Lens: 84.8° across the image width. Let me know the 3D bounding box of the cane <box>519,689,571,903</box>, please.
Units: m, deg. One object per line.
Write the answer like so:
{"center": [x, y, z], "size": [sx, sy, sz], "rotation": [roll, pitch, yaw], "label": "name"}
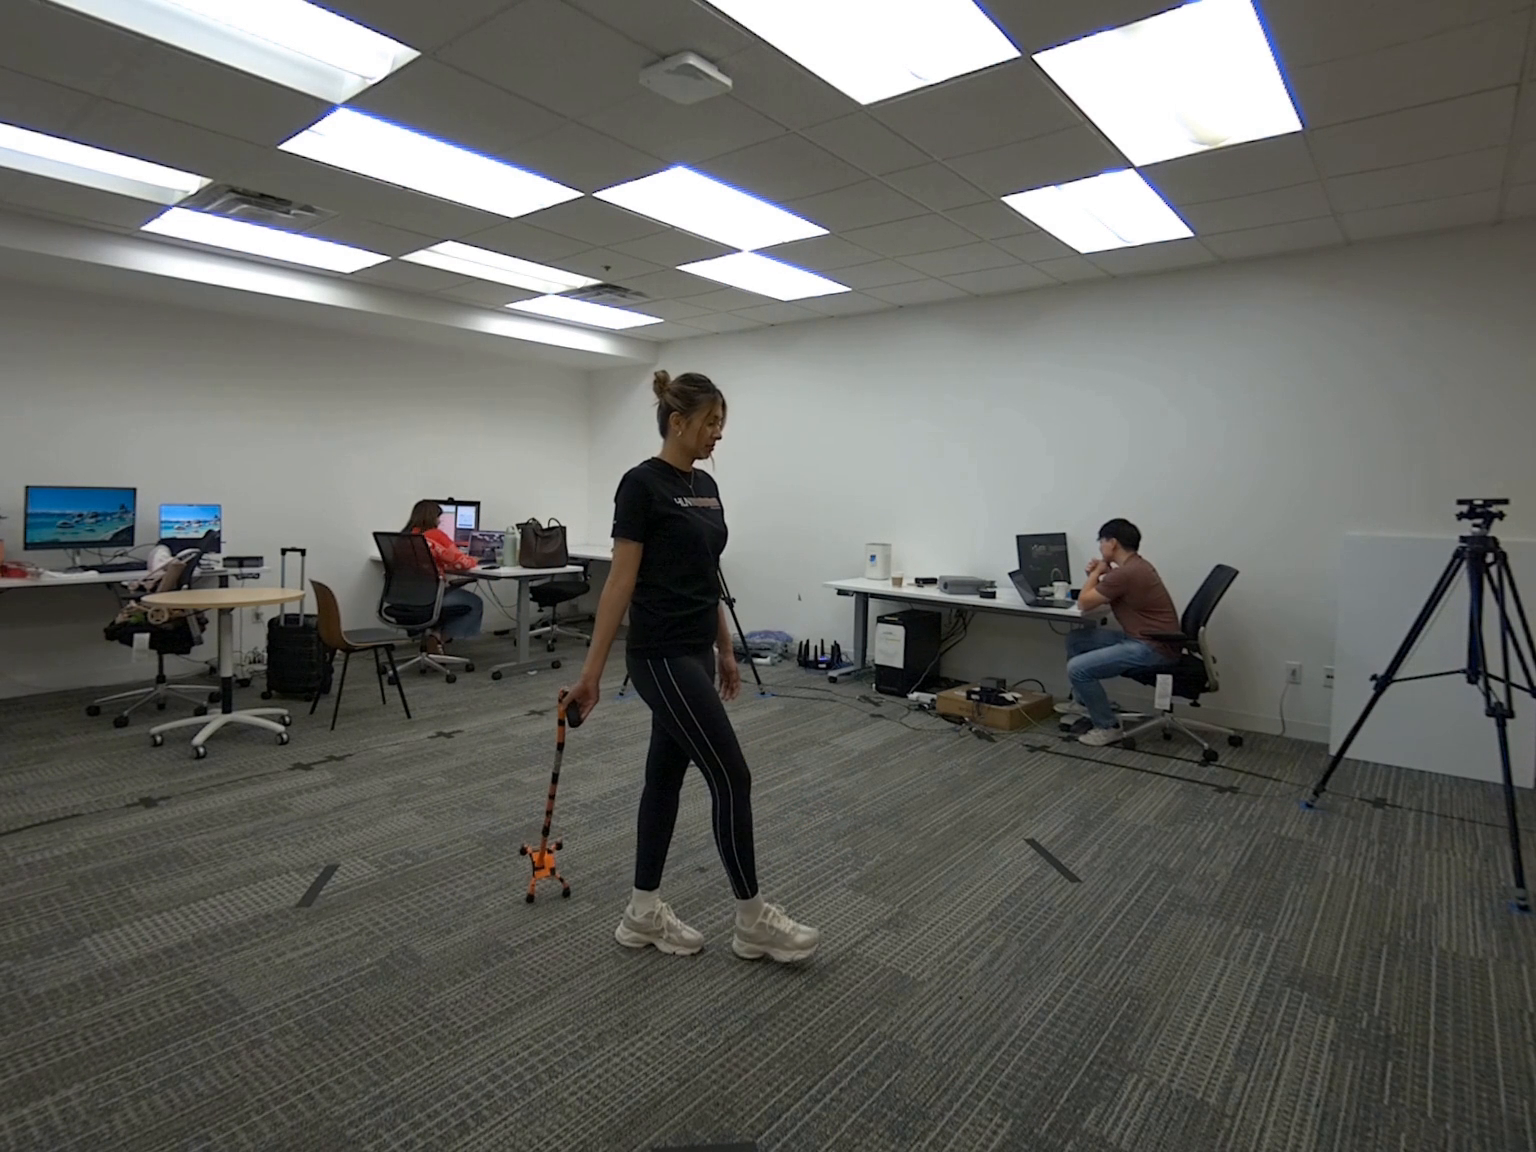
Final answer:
{"center": [-0.680, 0.678, 2.670], "size": [0.148, 0.891, 0.215], "rotation": [-1, 40, -22], "label": "cane"}
